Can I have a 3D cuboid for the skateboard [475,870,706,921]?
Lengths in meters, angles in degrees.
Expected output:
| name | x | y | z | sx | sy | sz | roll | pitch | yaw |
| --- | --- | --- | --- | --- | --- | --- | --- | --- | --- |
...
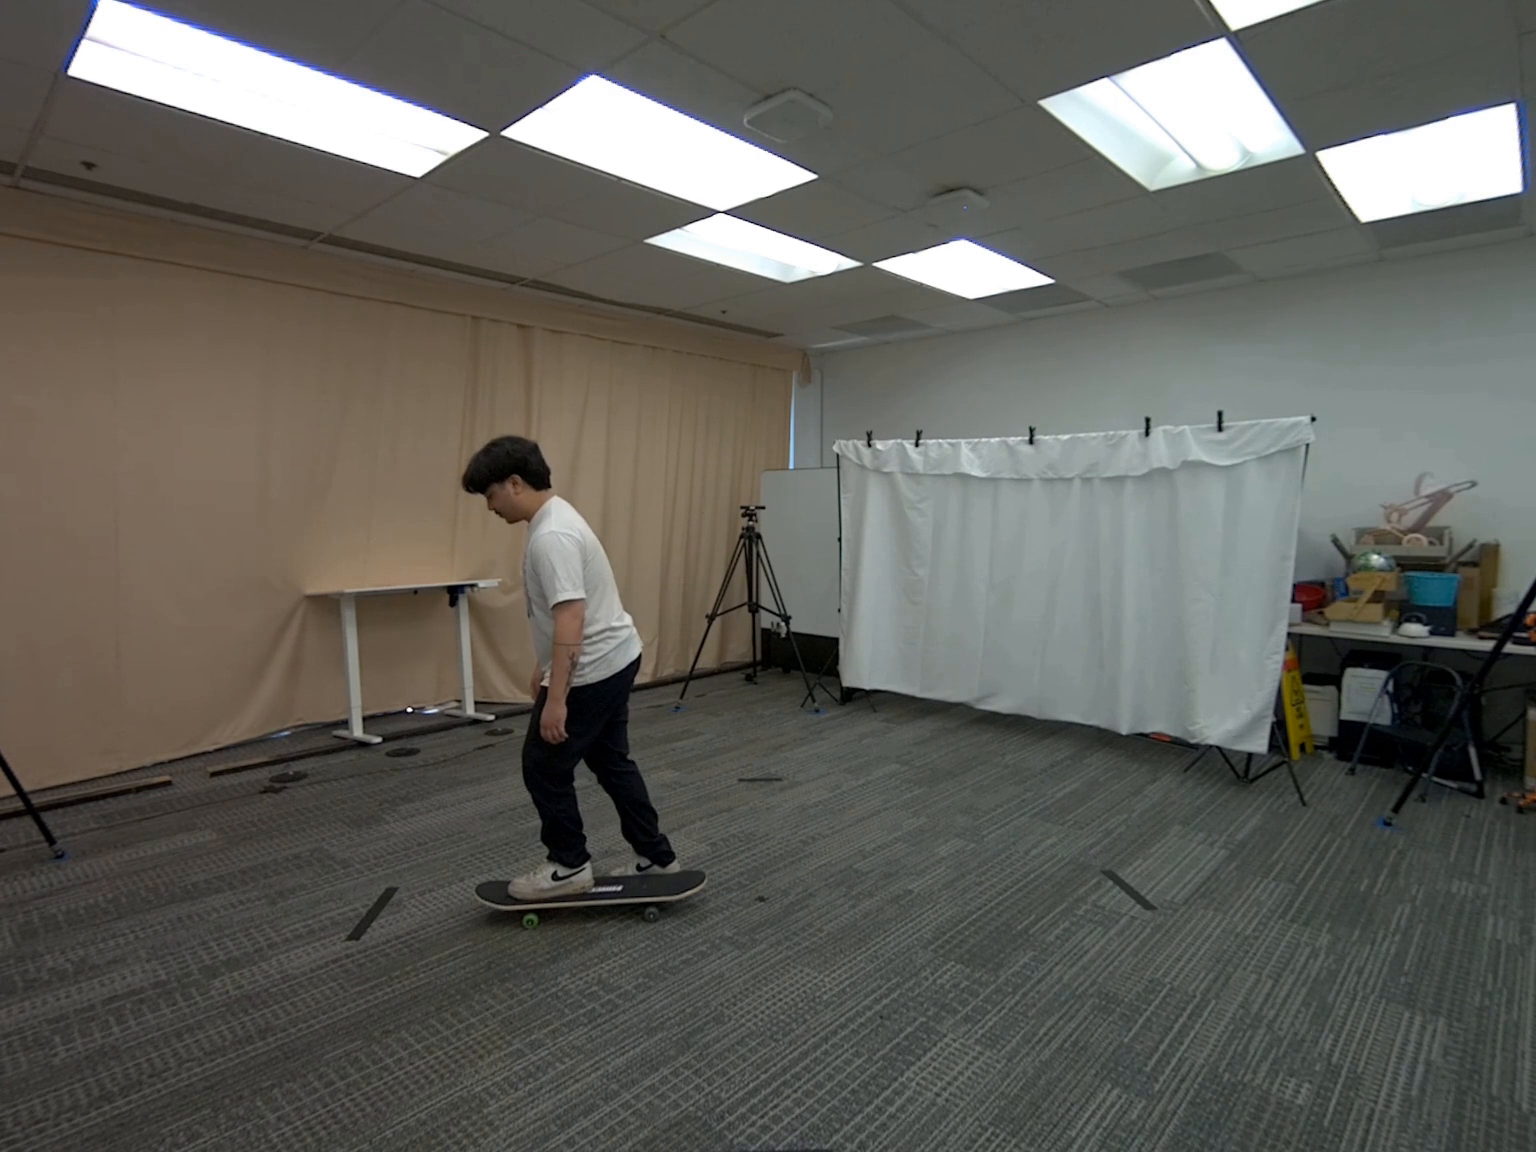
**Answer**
| name | x | y | z | sx | sy | sz | roll | pitch | yaw |
| --- | --- | --- | --- | --- | --- | --- | --- | --- | --- |
| skateboard | -0.588 | 1.094 | 2.883 | 0.781 | 0.110 | 0.195 | 0 | 5 | -6 |
